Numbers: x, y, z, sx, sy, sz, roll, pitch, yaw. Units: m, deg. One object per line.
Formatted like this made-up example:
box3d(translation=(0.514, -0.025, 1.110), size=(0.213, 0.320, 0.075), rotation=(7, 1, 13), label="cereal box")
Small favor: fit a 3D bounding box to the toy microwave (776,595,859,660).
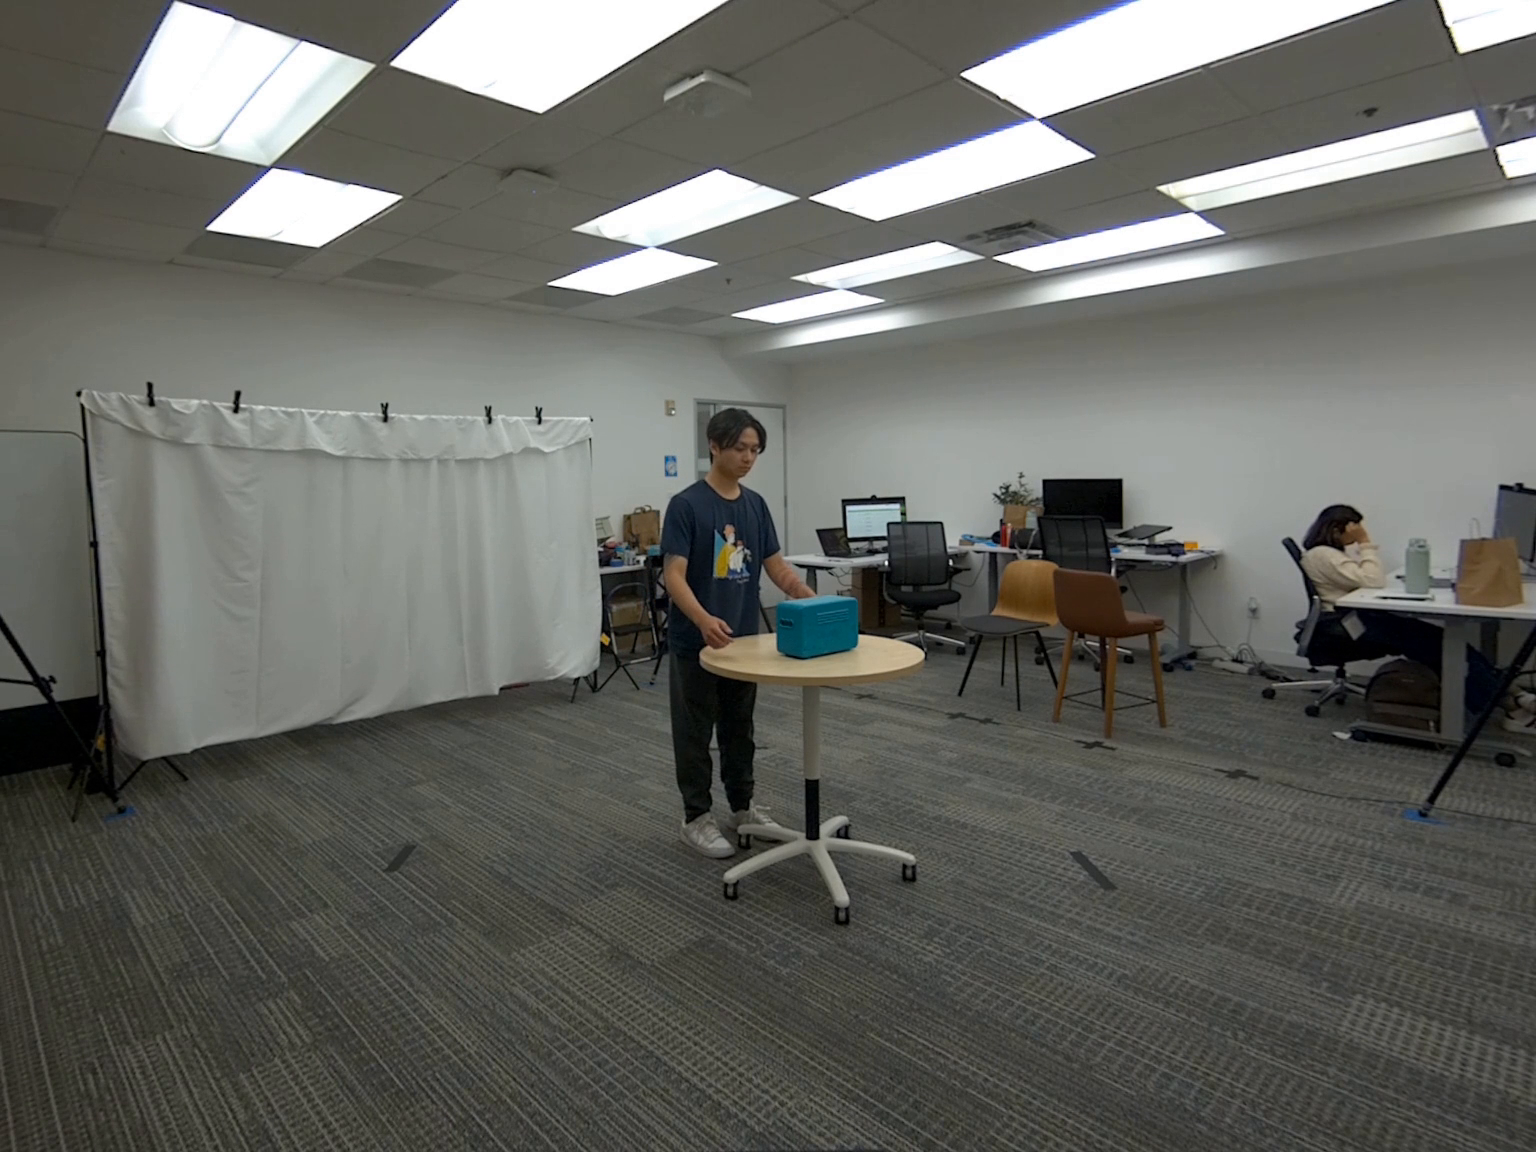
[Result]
box3d(translation=(0.173, 0.172, 2.926), size=(0.279, 0.183, 0.157), rotation=(-5, 6, -39), label="toy microwave")
